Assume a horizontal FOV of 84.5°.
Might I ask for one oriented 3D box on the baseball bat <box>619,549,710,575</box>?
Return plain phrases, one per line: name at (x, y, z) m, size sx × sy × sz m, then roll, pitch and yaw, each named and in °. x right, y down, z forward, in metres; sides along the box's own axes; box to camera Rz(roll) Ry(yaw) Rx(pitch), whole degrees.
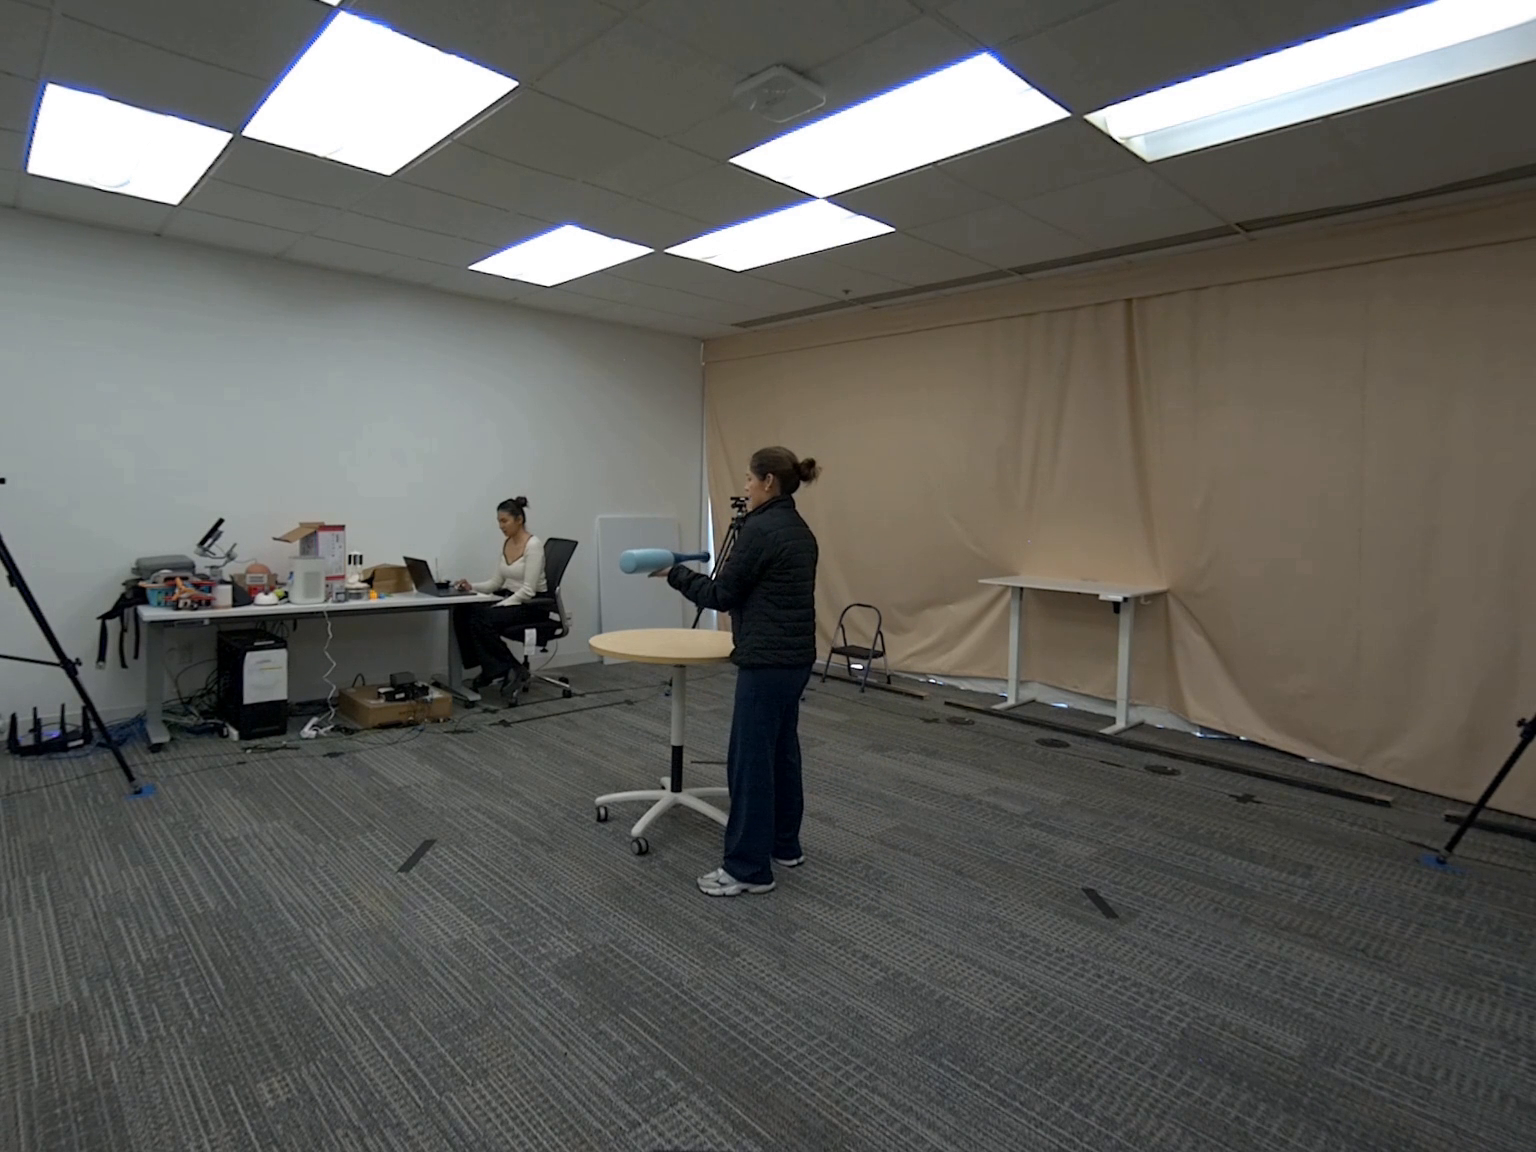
baseball bat at (-0.383, -0.061, 3.202) m, size 0.091 × 0.089 × 0.533 m, roll 4°, pitch 5°, yaw 27°
